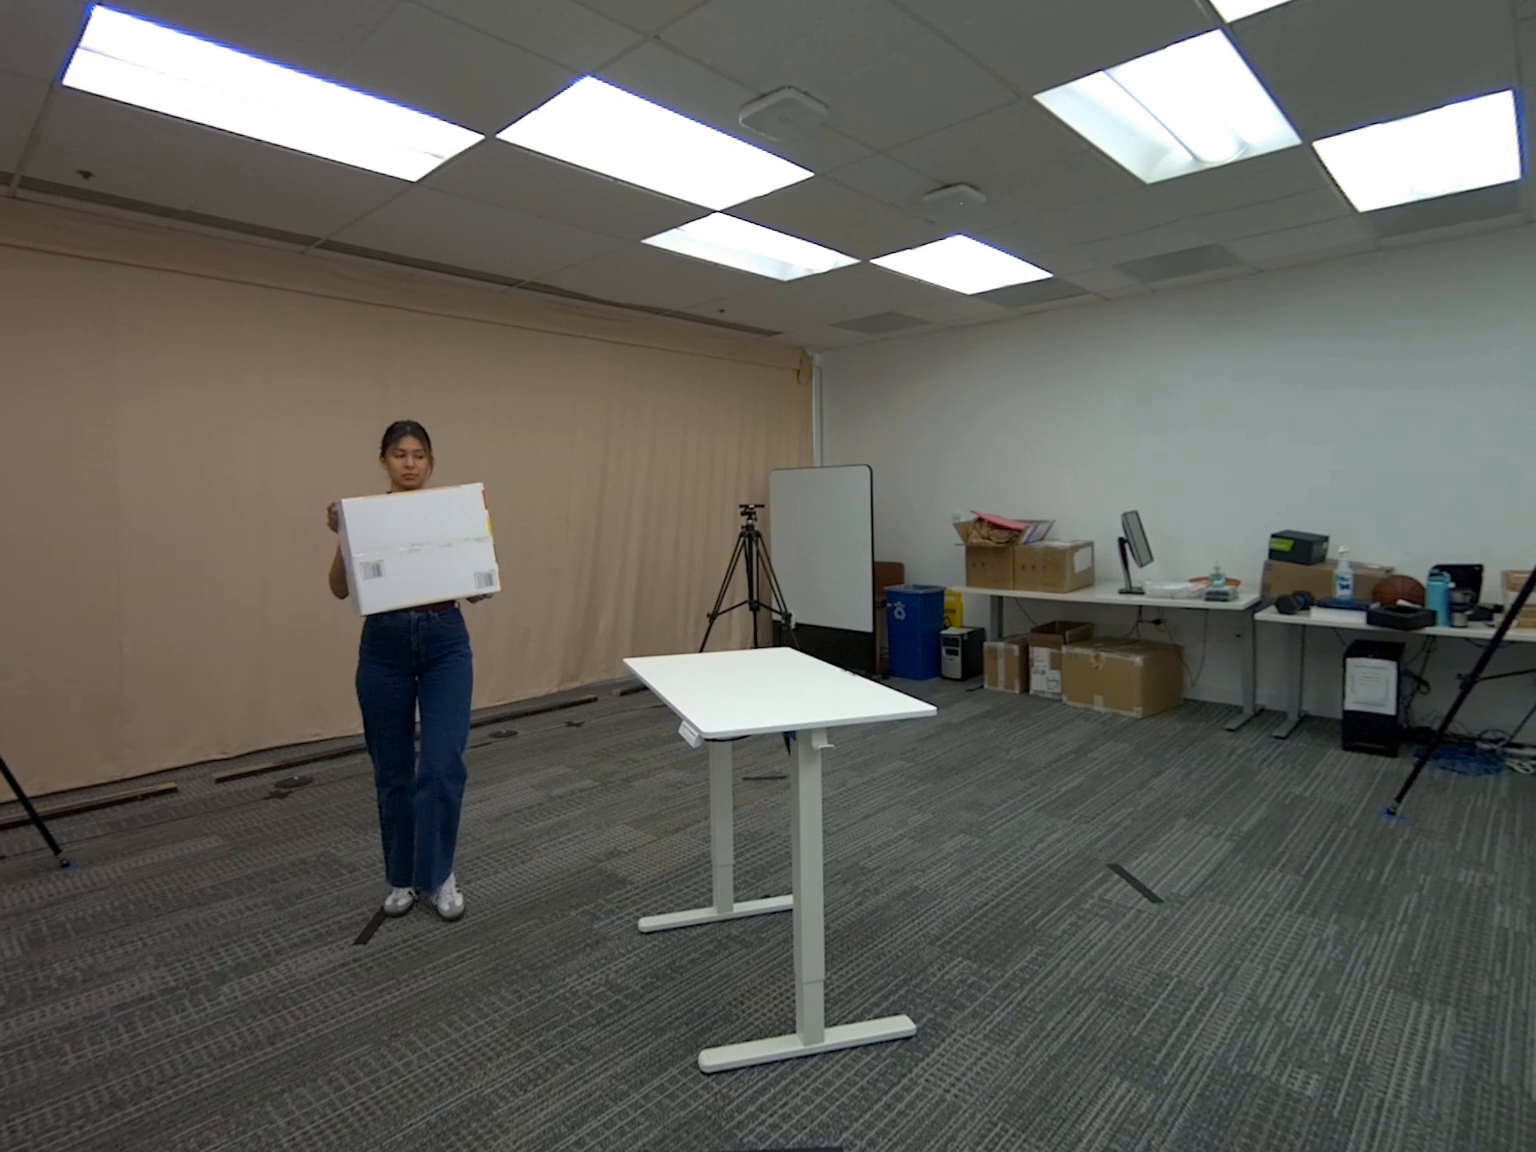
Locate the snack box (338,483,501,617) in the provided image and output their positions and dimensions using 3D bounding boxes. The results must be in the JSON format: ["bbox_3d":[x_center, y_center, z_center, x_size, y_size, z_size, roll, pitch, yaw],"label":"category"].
[{"bbox_3d":[-1.052,-0.079,2.542,0.395,0.340,0.211,-12,1,-31],"label":"snack box"}]
